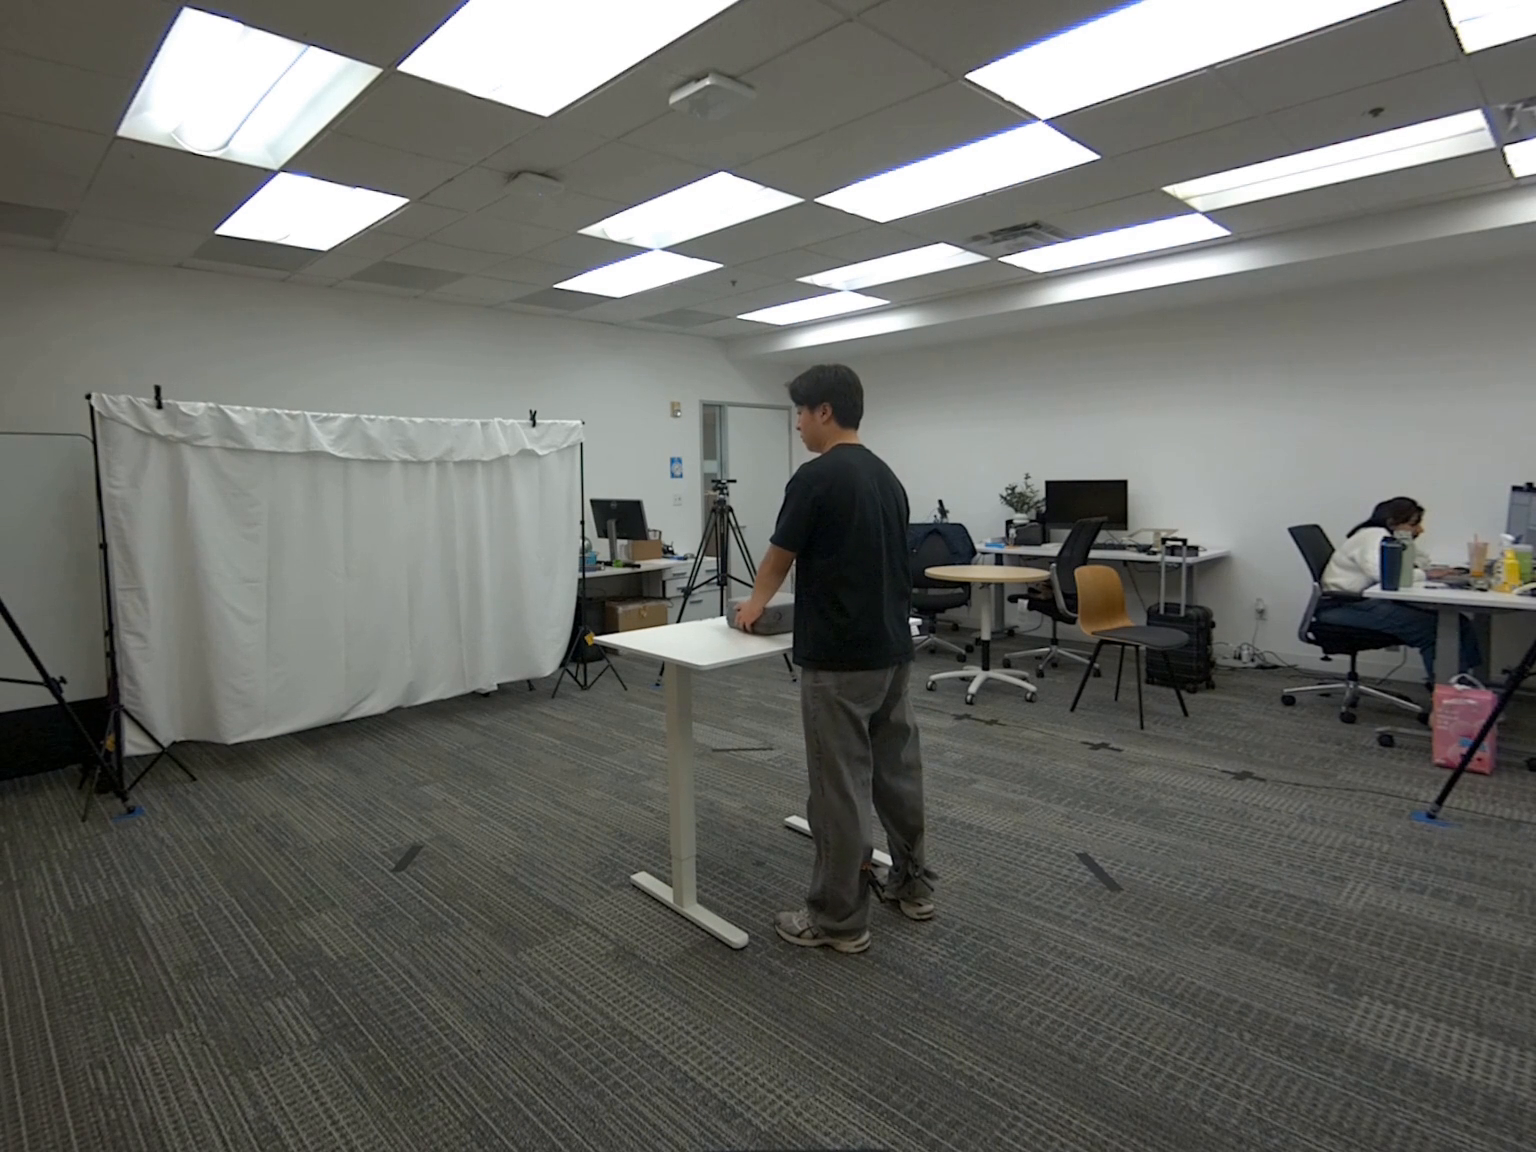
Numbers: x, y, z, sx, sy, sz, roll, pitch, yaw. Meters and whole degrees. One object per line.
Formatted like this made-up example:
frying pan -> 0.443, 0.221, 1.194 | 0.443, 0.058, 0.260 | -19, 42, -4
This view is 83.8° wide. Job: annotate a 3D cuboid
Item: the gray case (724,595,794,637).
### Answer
gray case -> 0.000, 0.129, 2.966 | 0.280, 0.102, 0.271 | -6, 8, -31
